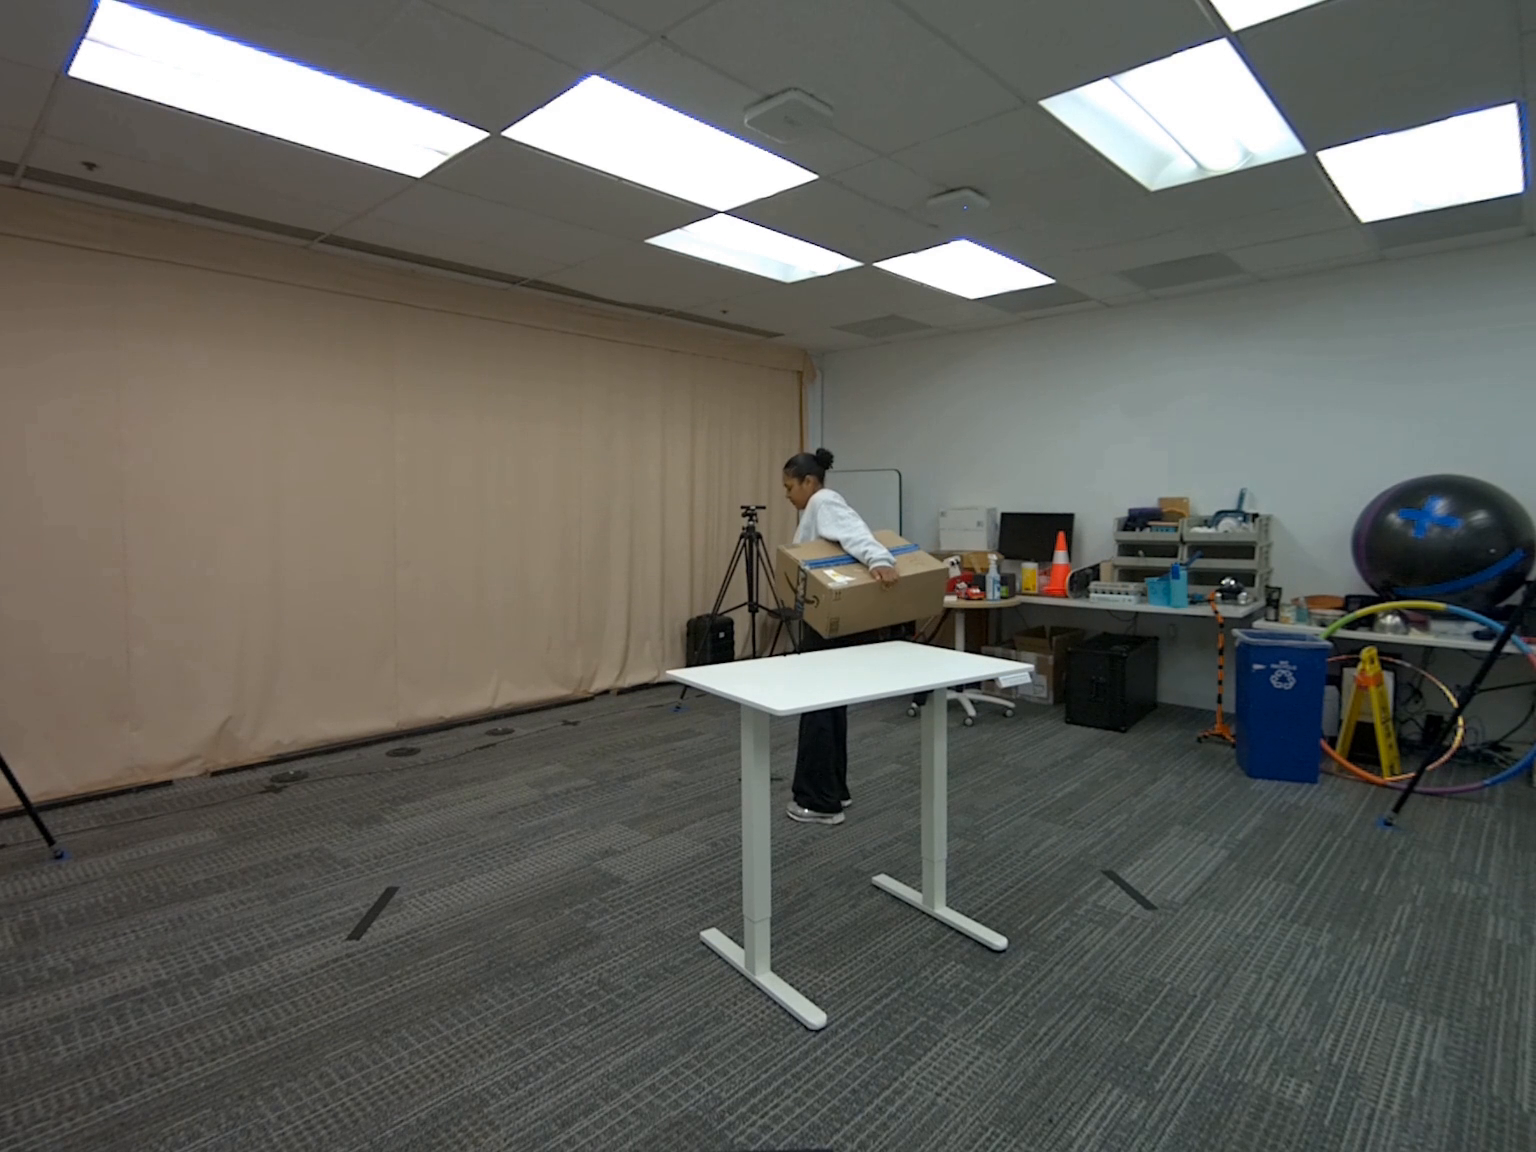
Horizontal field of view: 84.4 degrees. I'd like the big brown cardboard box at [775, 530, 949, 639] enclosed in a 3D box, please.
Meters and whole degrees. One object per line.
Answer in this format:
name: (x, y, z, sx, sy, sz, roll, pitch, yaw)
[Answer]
big brown cardboard box: (0.374, 0.021, 3.434, 0.576, 0.230, 0.432, -9, 28, -25)
